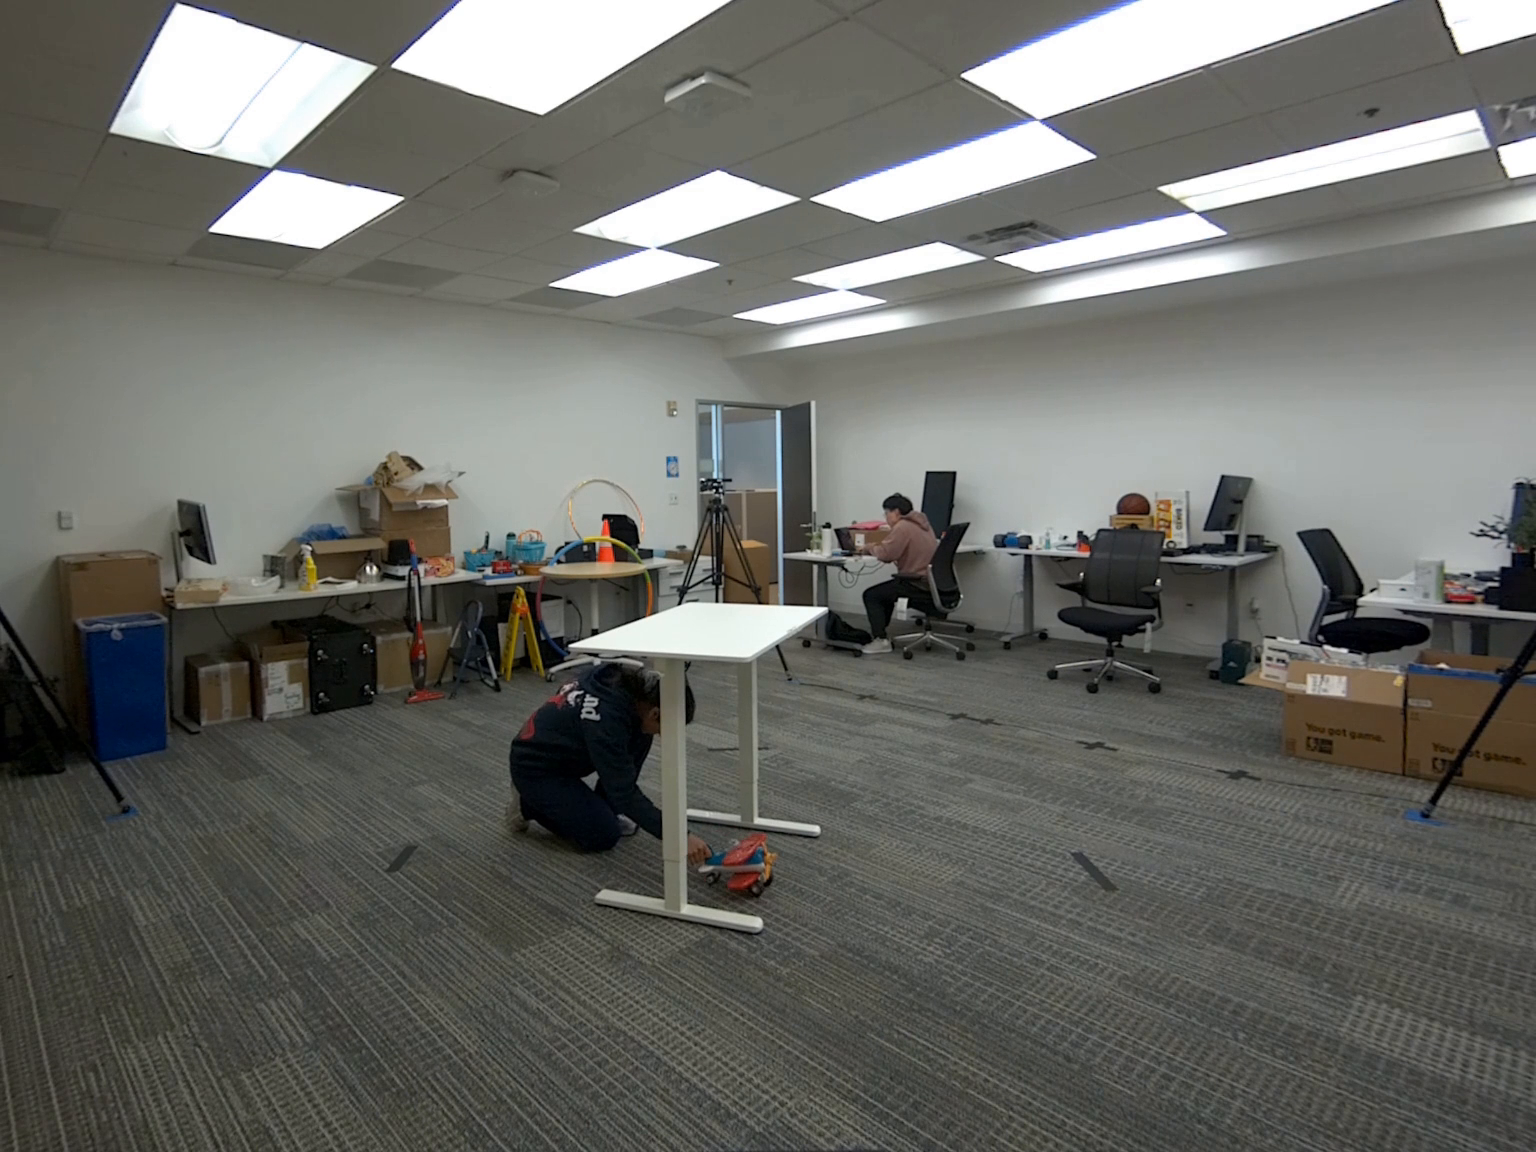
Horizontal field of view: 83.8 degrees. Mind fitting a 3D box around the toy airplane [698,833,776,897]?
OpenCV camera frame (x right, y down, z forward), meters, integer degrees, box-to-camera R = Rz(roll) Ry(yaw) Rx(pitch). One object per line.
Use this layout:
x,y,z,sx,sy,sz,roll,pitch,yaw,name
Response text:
-0.106,0.996,2.904,0.258,0.156,0.253,-1,5,-6,toy airplane
